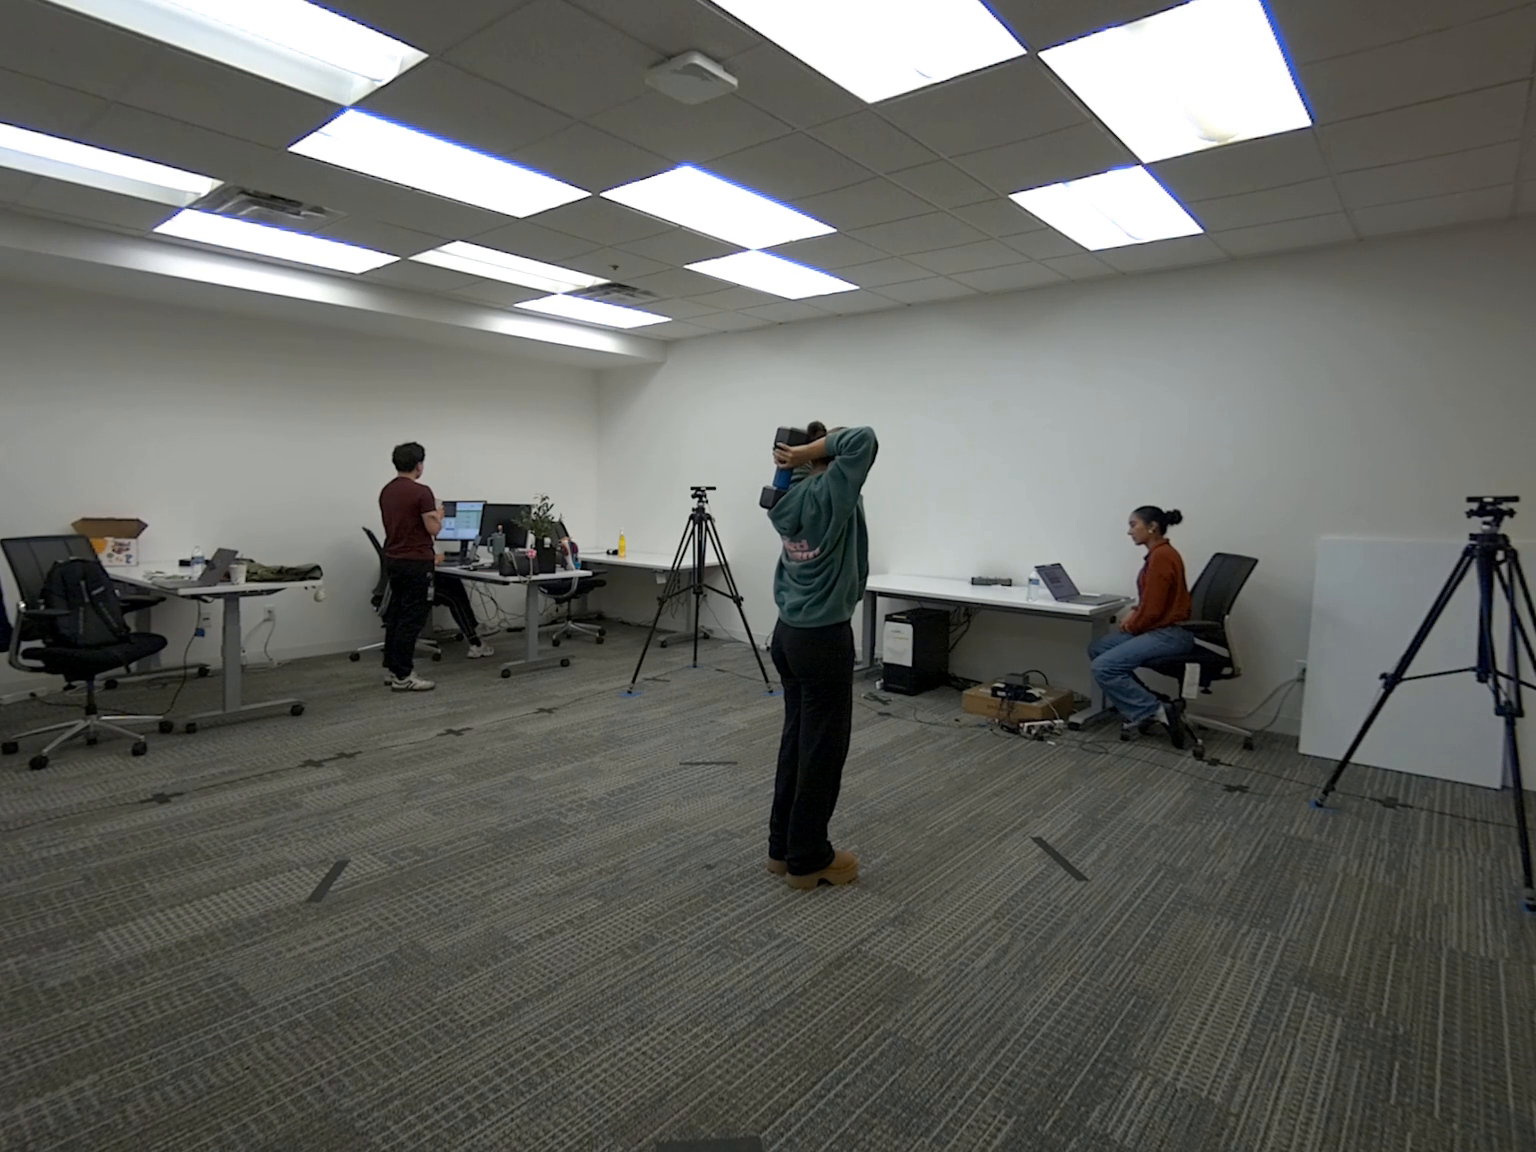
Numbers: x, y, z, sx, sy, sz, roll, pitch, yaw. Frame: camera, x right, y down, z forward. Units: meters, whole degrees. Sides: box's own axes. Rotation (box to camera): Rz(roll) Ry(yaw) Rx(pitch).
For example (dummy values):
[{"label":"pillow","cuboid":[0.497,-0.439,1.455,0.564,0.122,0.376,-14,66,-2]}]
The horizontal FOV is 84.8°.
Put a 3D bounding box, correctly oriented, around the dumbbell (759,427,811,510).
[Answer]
[{"label":"dumbbell","cuboid":[0.051,-0.374,2.960,0.119,0.294,0.112,16,-1,-27]}]
